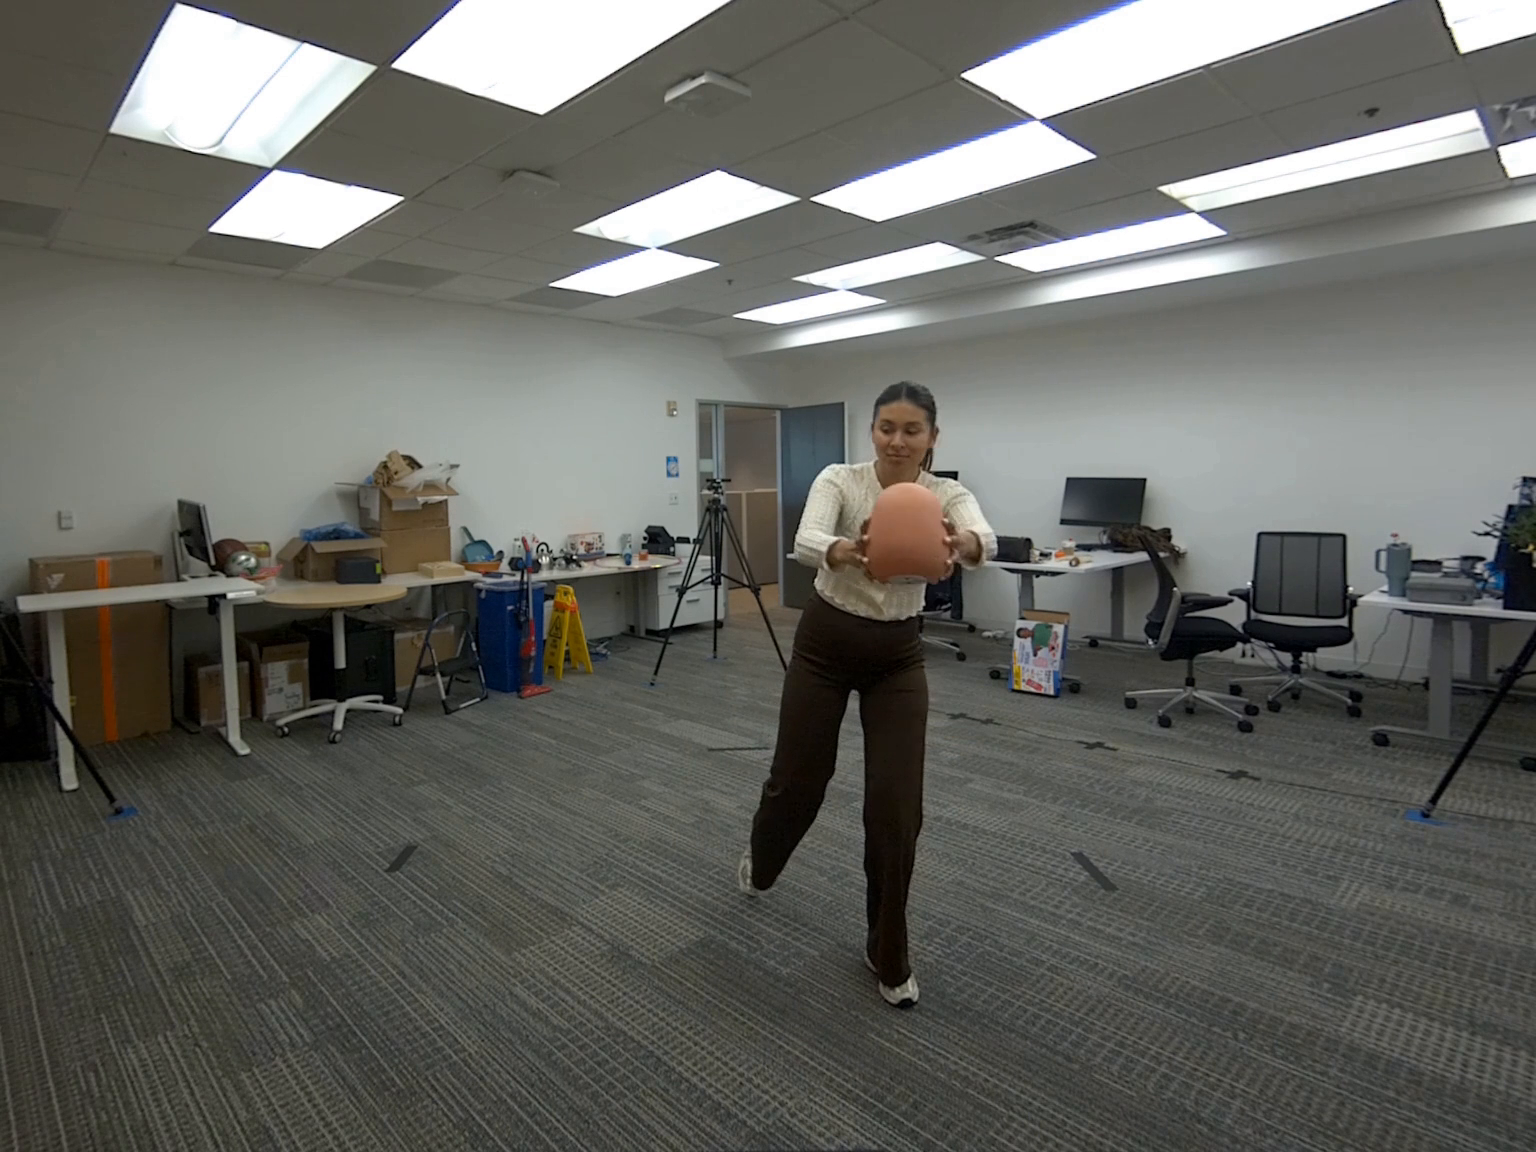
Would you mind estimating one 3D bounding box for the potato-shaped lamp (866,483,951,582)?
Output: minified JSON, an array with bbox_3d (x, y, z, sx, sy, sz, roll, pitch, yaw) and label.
[{"bbox_3d":[0.283,-0.076,1.714,0.167,0.200,0.167,-3,-11,14],"label":"potato-shaped lamp"}]
